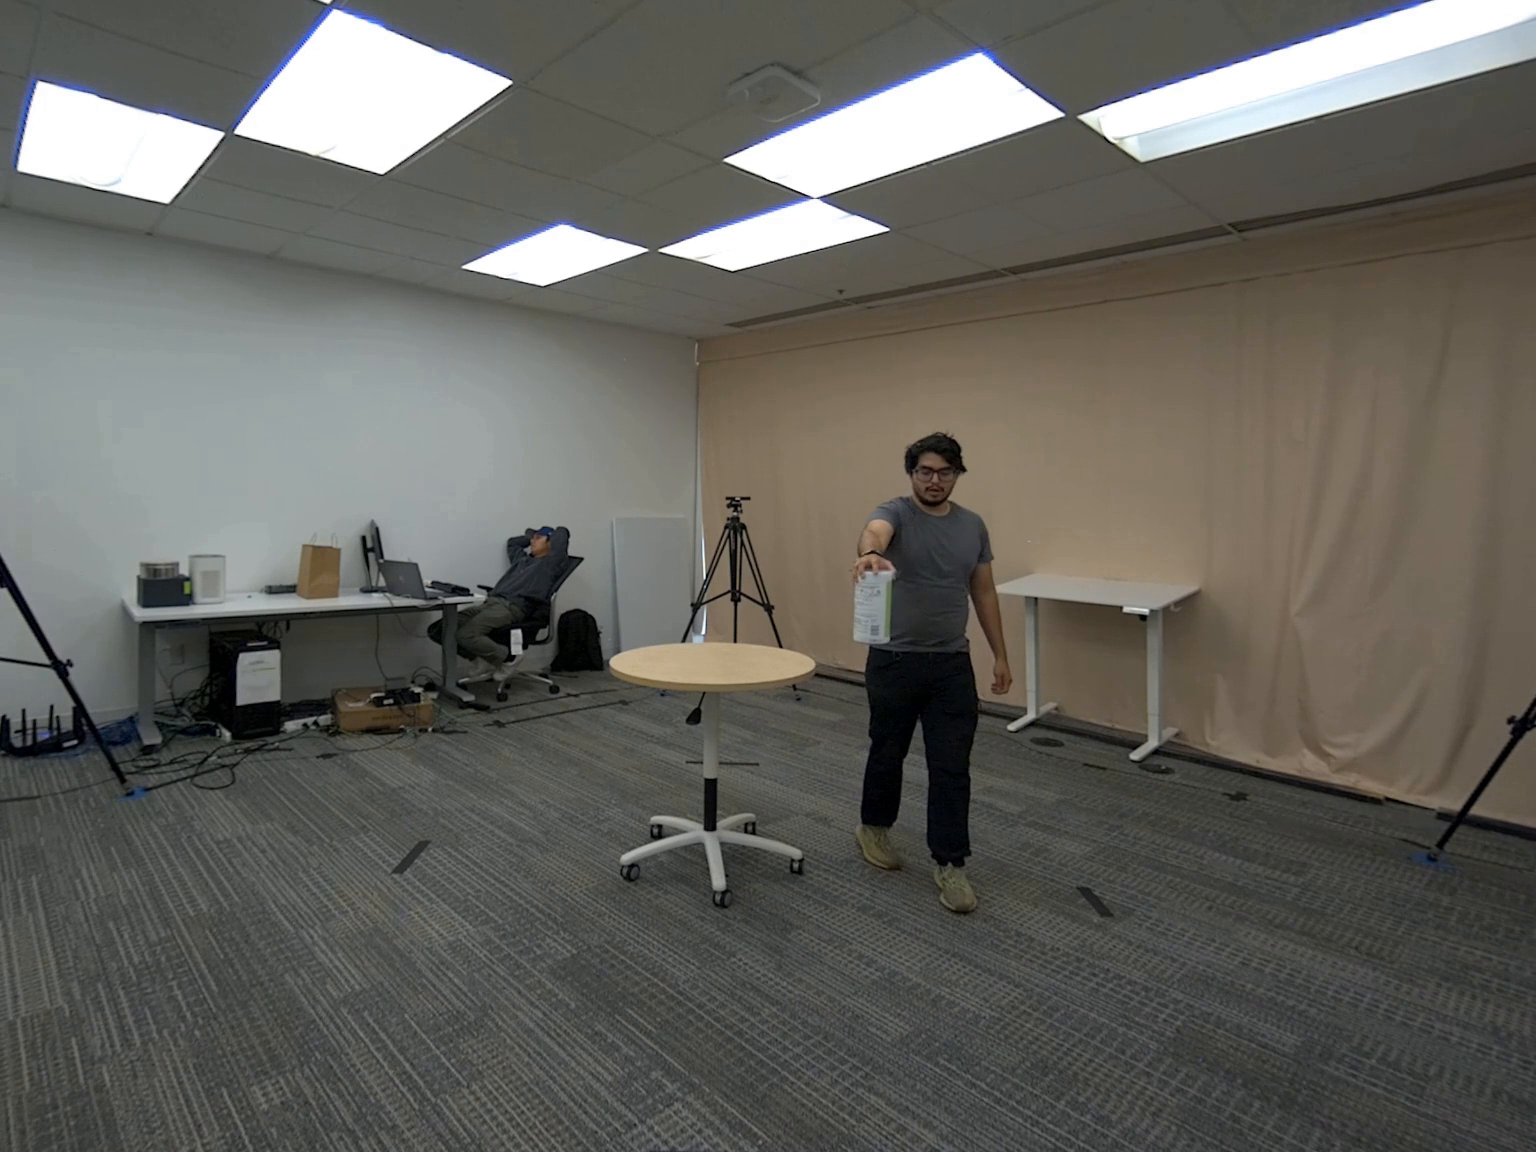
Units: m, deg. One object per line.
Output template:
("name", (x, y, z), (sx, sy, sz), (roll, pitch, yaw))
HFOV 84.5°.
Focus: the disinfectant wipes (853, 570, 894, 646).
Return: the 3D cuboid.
("disinfectant wipes", (0.303, 0.092, 2.514), (0.118, 0.216, 0.118), (1, 5, -1))
